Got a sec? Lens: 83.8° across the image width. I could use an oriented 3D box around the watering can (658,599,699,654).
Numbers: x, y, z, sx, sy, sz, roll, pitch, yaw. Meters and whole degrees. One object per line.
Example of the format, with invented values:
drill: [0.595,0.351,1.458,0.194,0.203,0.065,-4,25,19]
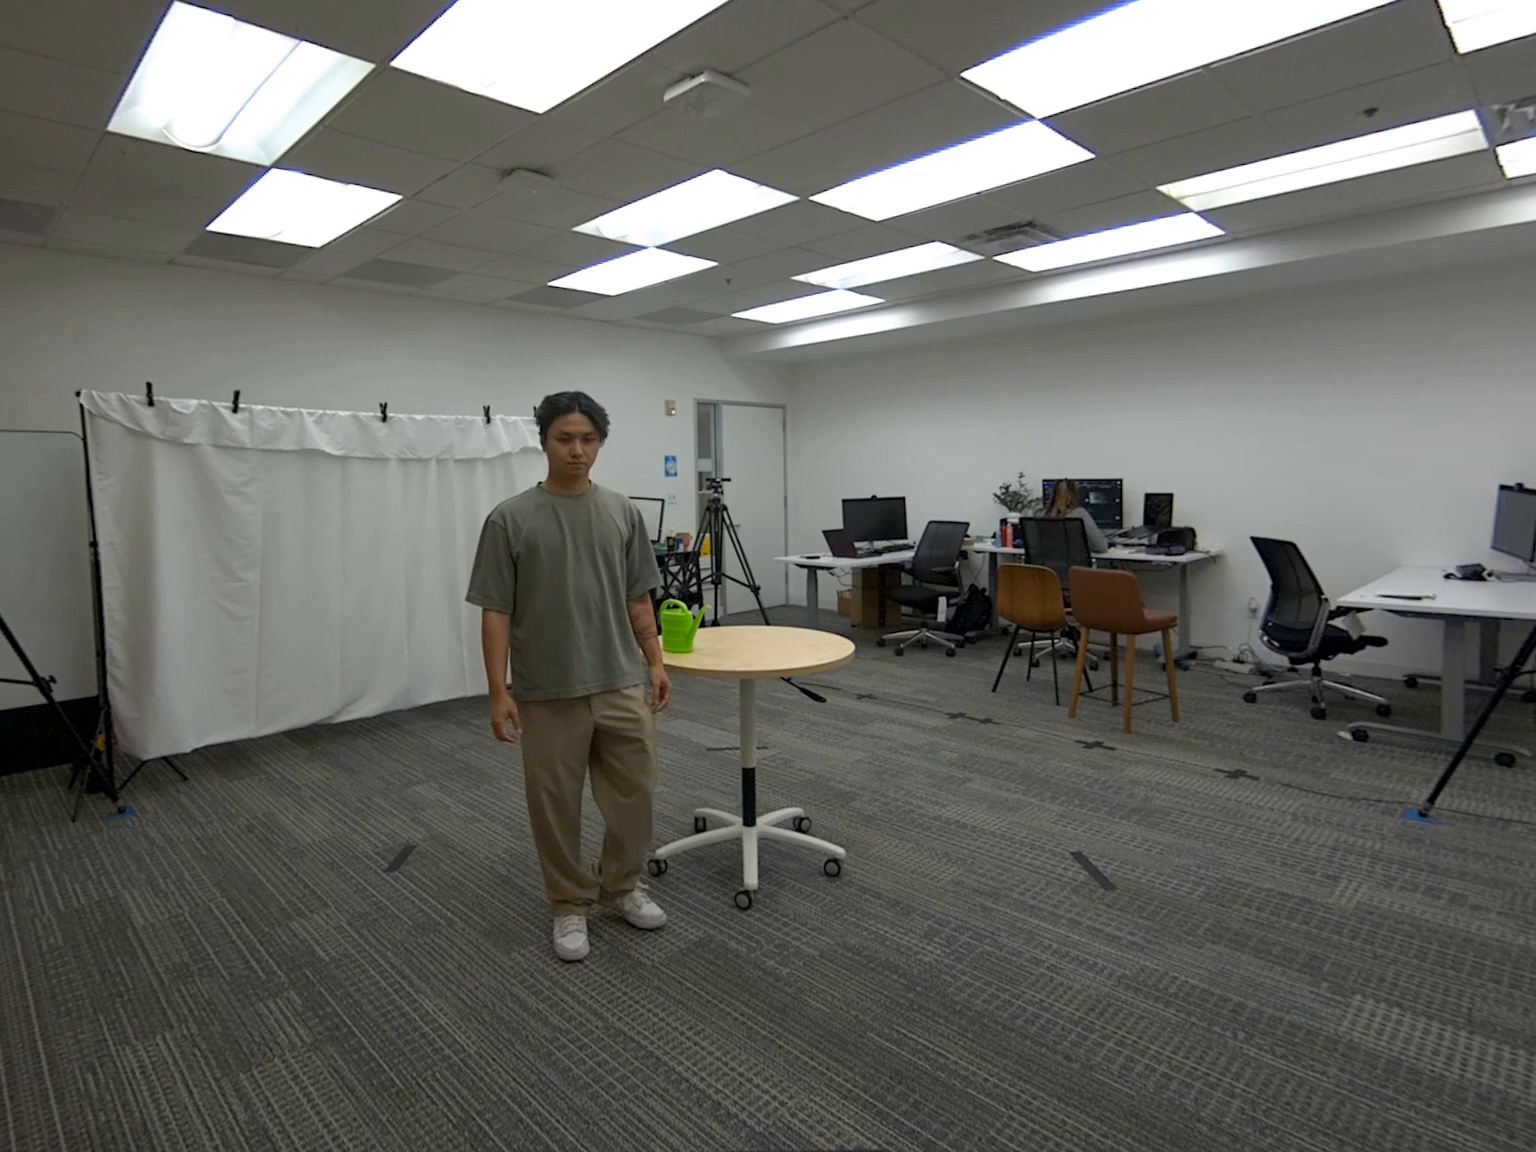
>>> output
watering can: [-0.288,0.176,2.956,0.096,0.176,0.285,-1,5,-26]
